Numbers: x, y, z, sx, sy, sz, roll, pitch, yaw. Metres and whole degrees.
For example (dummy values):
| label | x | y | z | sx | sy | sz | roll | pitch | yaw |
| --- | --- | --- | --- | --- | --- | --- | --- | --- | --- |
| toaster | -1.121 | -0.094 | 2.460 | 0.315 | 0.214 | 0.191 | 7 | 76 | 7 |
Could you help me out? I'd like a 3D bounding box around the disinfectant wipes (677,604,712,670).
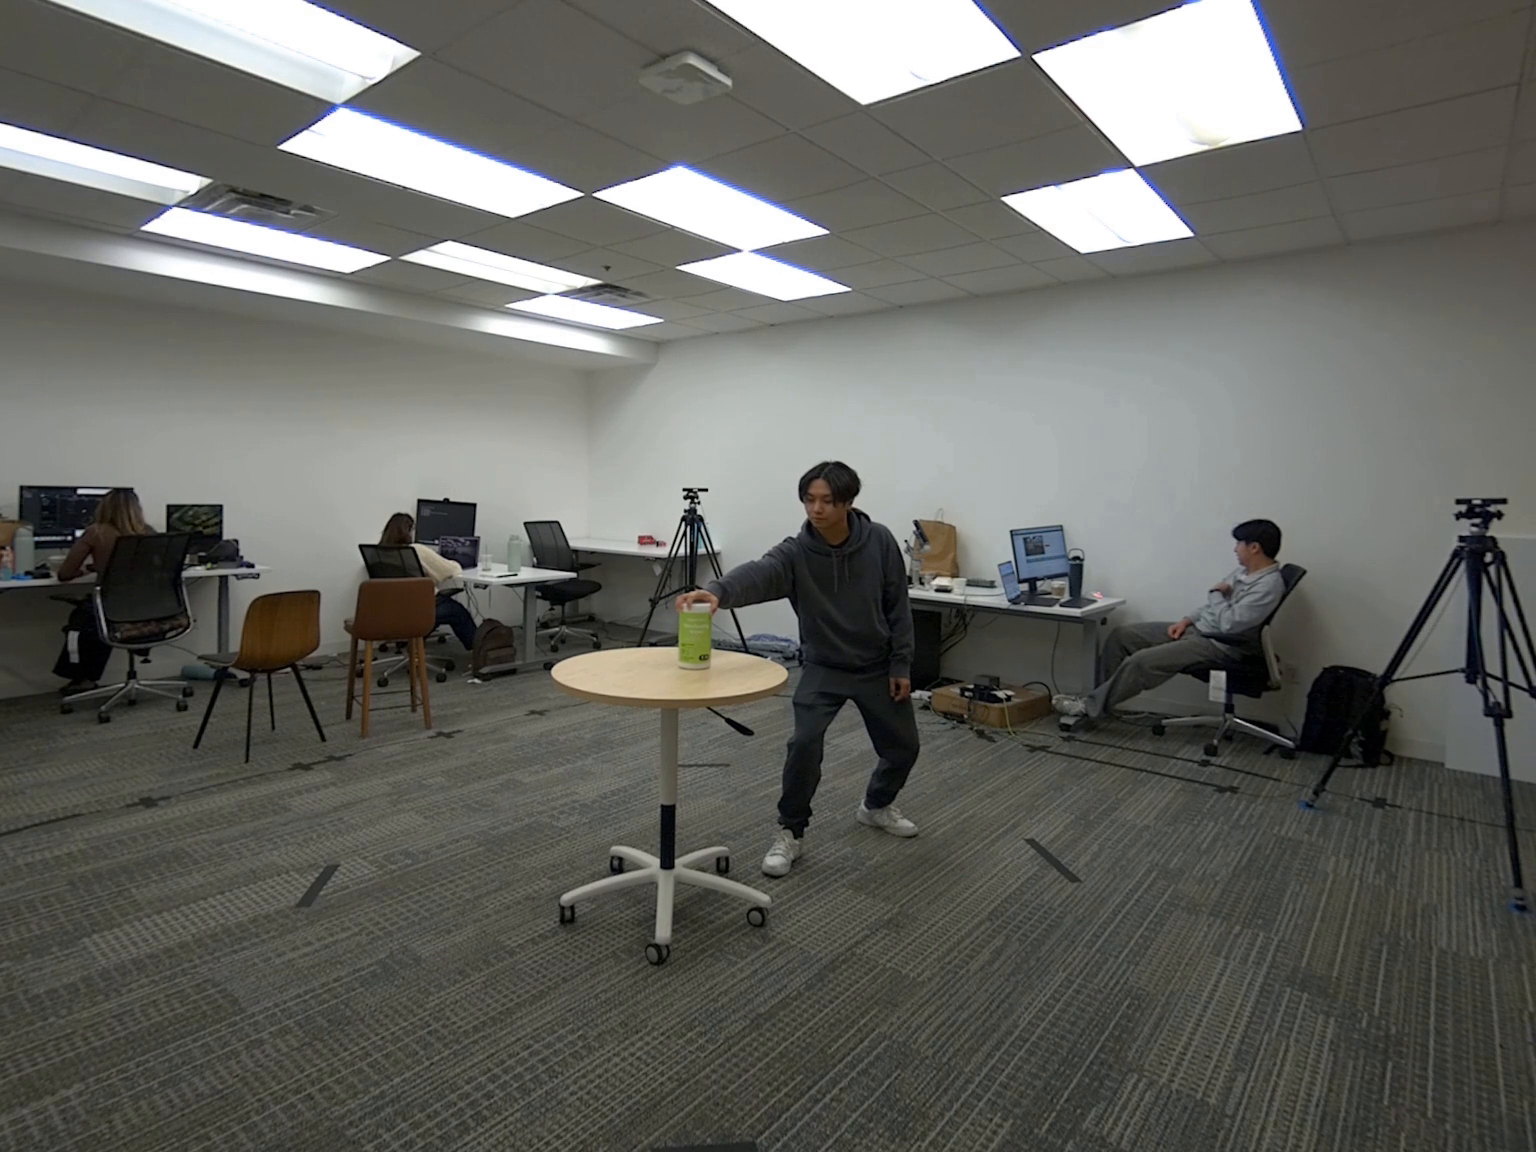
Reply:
| label | x | y | z | sx | sy | sz | roll | pitch | yaw |
| --- | --- | --- | --- | --- | --- | --- | --- | --- | --- |
| disinfectant wipes | -0.255 | 0.192 | 2.822 | 0.118 | 0.217 | 0.118 | 2 | 2 | -2 |
